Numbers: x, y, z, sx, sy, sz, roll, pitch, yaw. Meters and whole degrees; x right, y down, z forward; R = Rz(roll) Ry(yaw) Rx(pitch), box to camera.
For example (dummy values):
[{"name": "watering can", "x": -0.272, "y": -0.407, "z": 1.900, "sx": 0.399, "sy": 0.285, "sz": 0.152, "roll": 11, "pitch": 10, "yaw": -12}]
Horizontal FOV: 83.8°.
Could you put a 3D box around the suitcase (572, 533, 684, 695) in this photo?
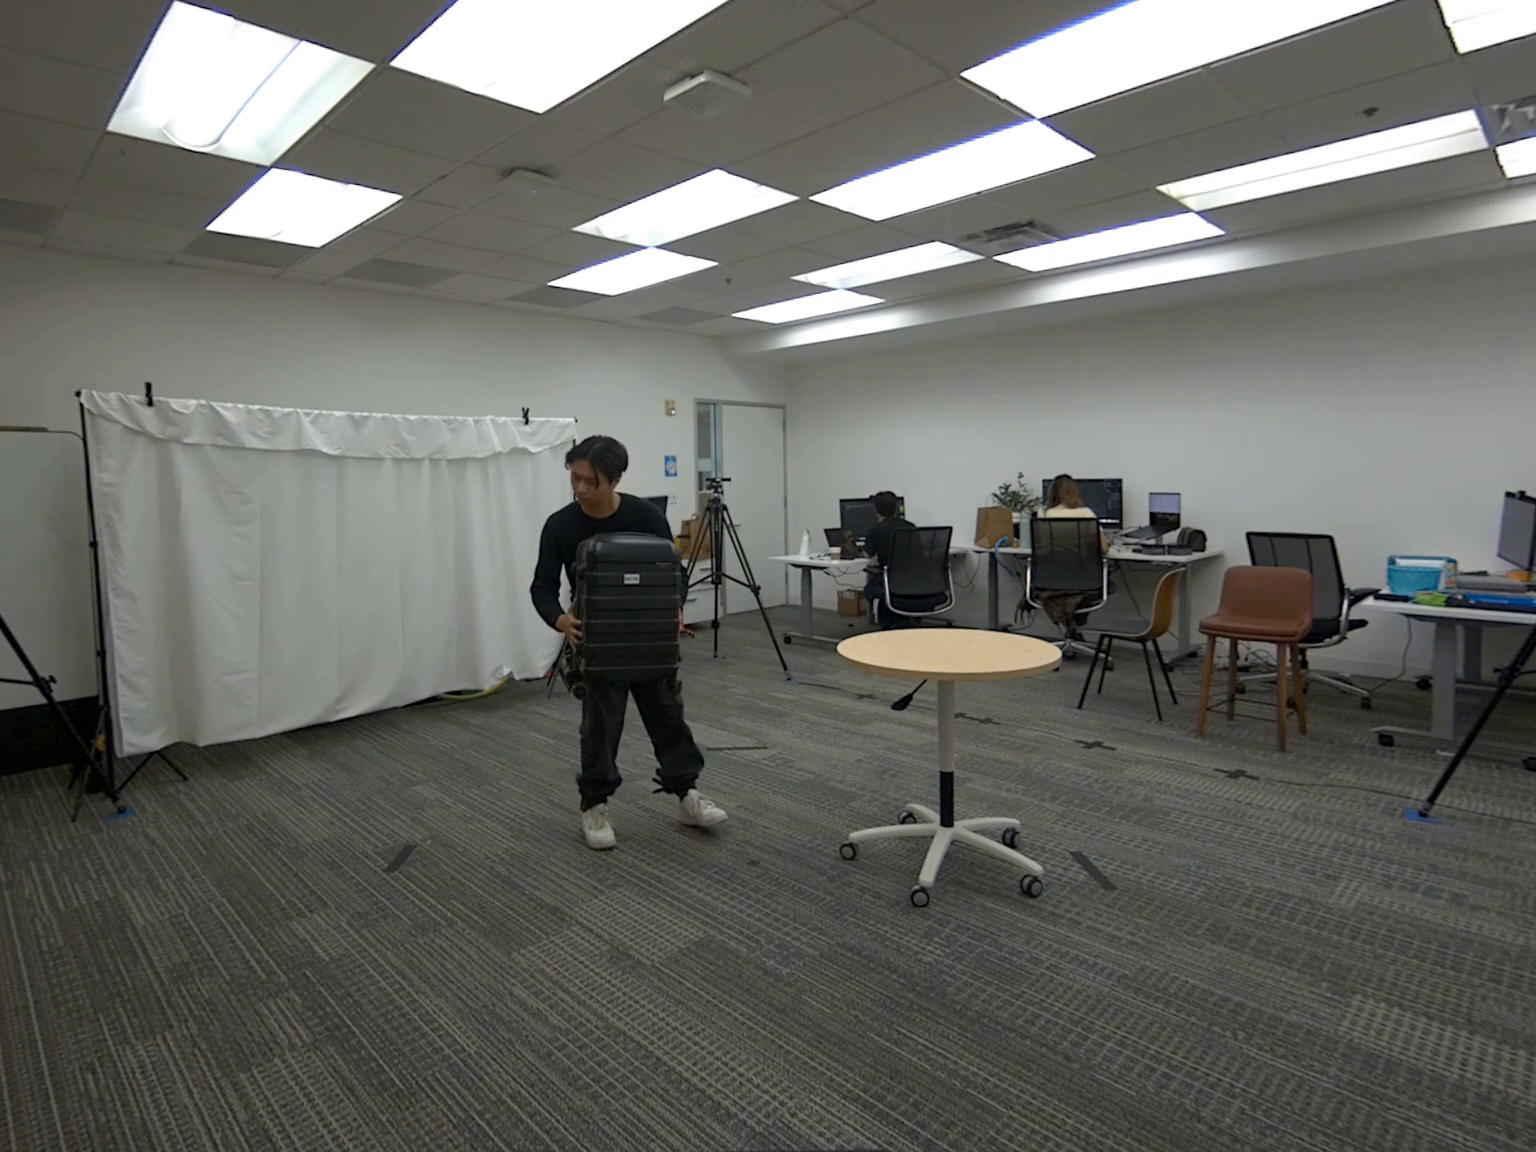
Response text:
[{"name": "suitcase", "x": -0.496, "y": 0.134, "z": 3.015, "sx": 0.369, "sy": 0.547, "sz": 0.254, "roll": 1, "pitch": 5, "yaw": -19}]
